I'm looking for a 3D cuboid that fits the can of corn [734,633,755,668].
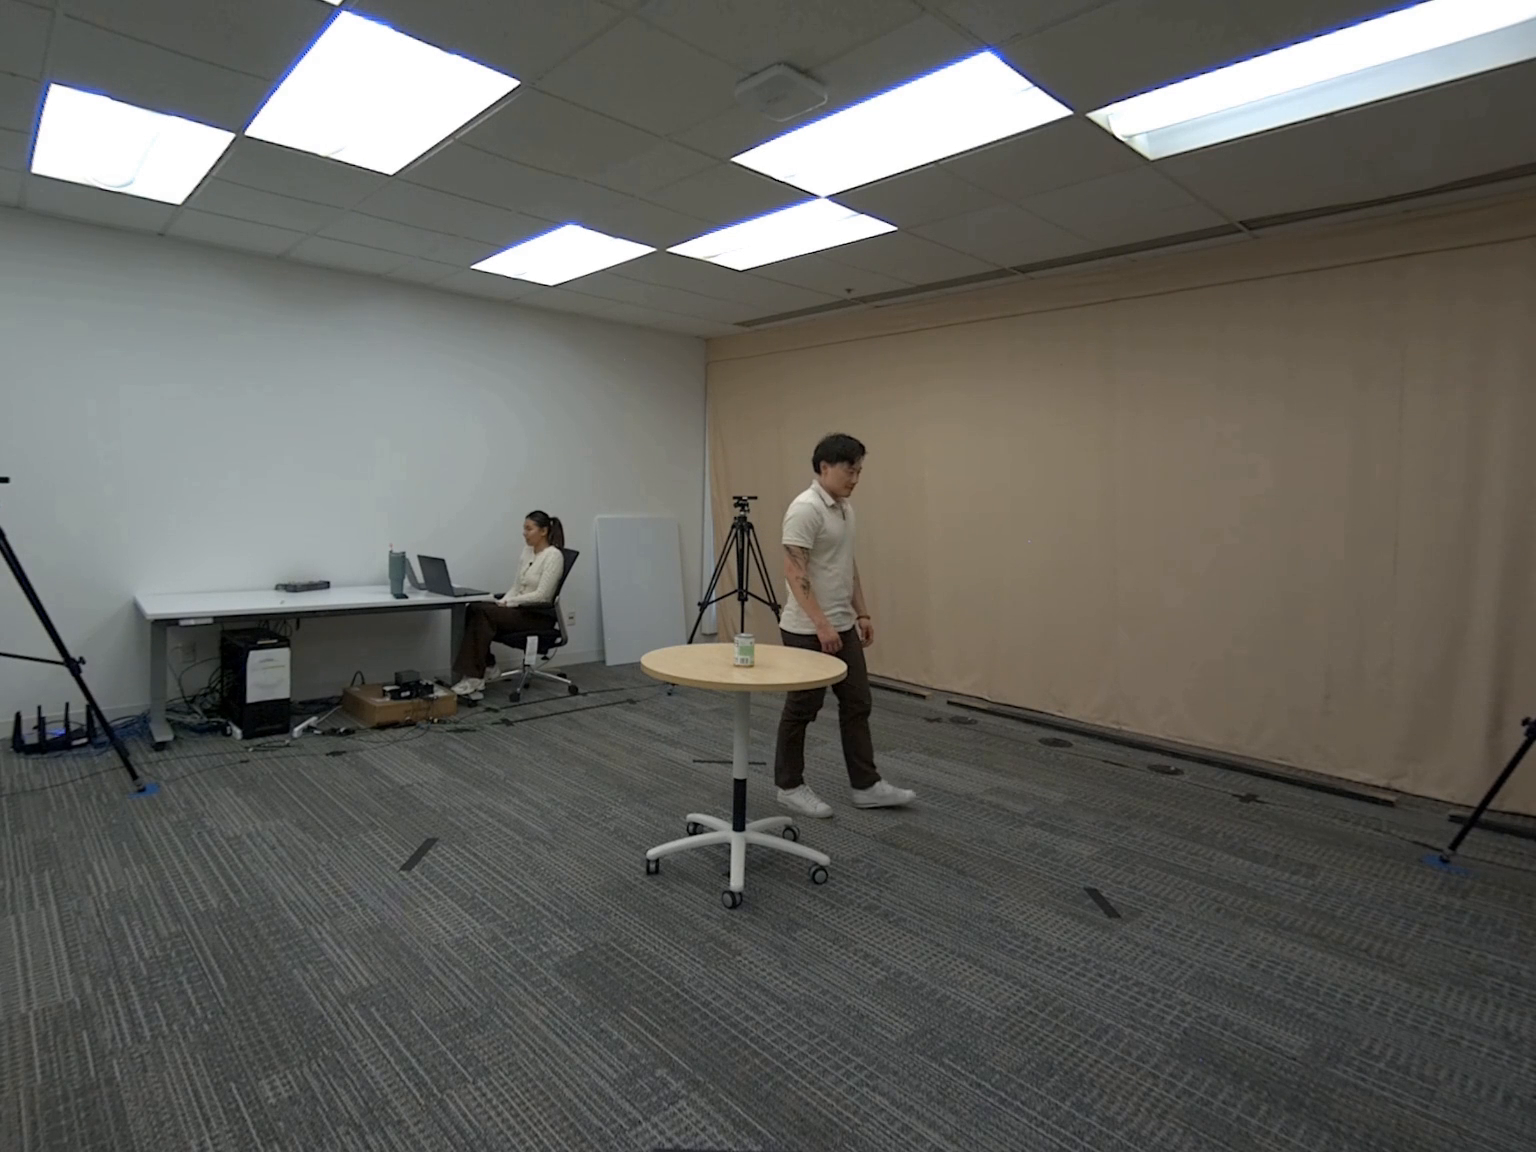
[{"bbox_3d":[-0.091,0.271,3.043,0.074,0.110,0.074,3,5,-2],"label":"can of corn"}]
